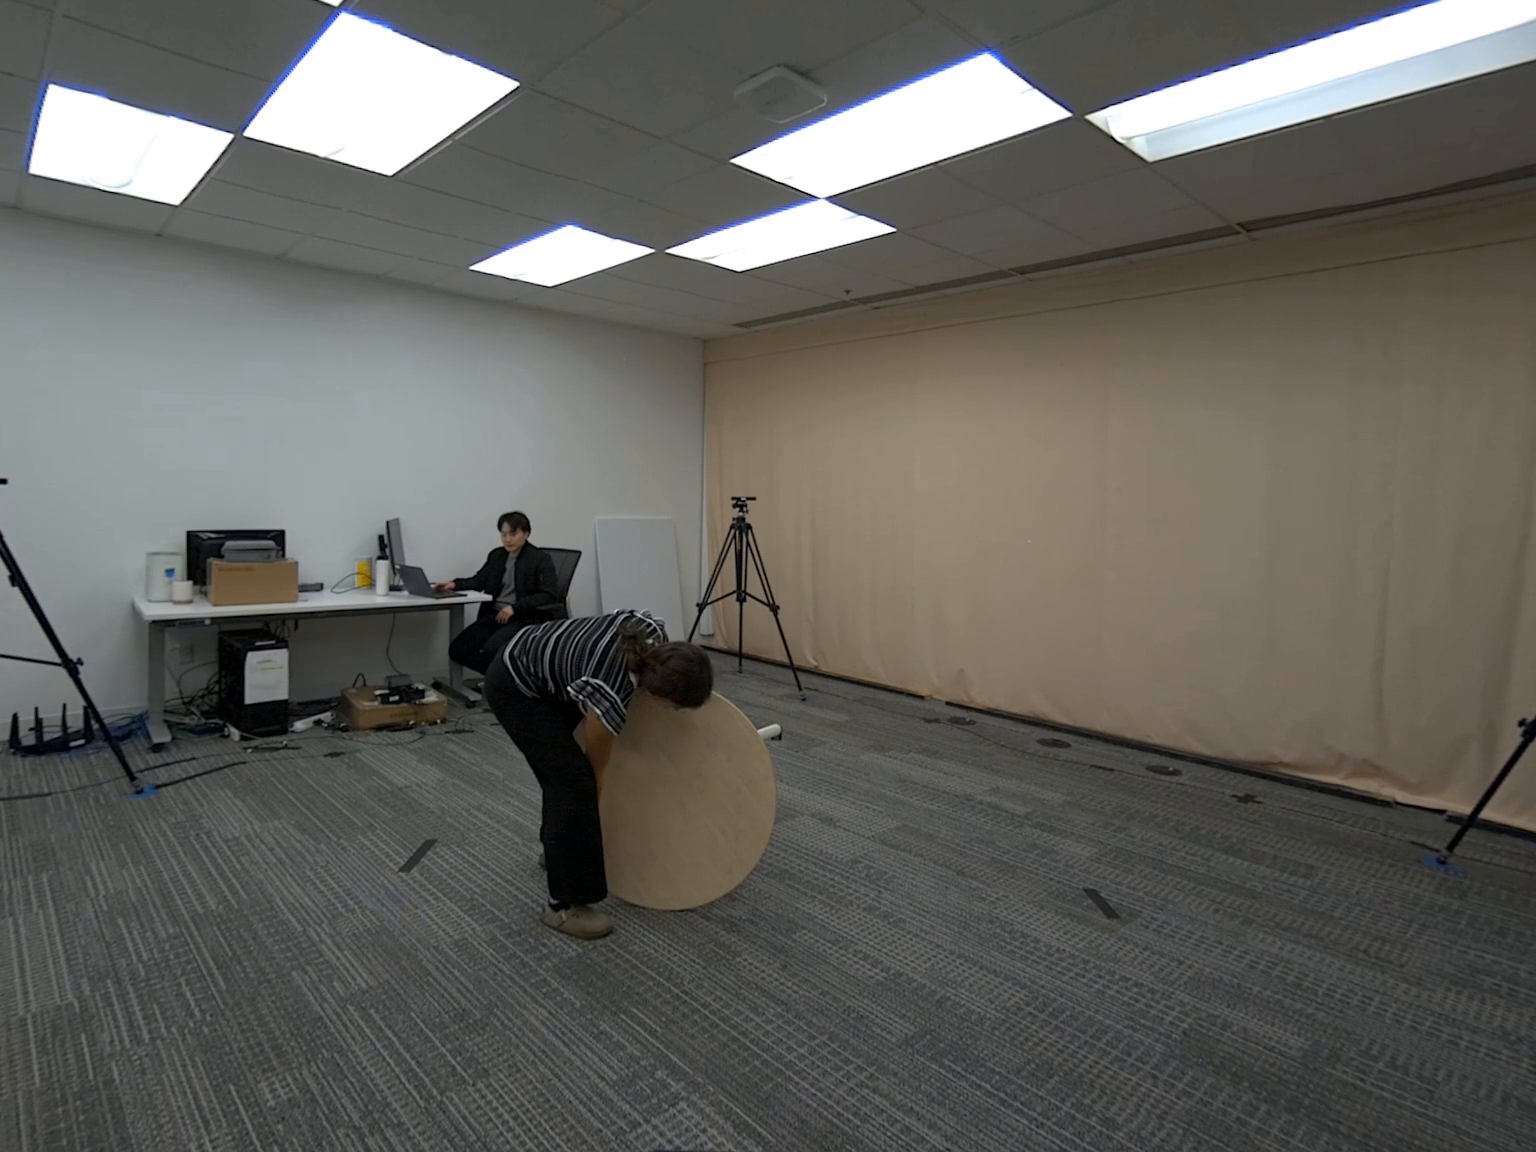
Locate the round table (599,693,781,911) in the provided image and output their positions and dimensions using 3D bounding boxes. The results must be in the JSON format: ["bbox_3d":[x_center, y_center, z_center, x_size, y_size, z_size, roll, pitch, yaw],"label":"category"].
[{"bbox_3d":[-0.318,0.755,3.258,0.791,0.787,0.779,2,-2,8],"label":"round table"}]
